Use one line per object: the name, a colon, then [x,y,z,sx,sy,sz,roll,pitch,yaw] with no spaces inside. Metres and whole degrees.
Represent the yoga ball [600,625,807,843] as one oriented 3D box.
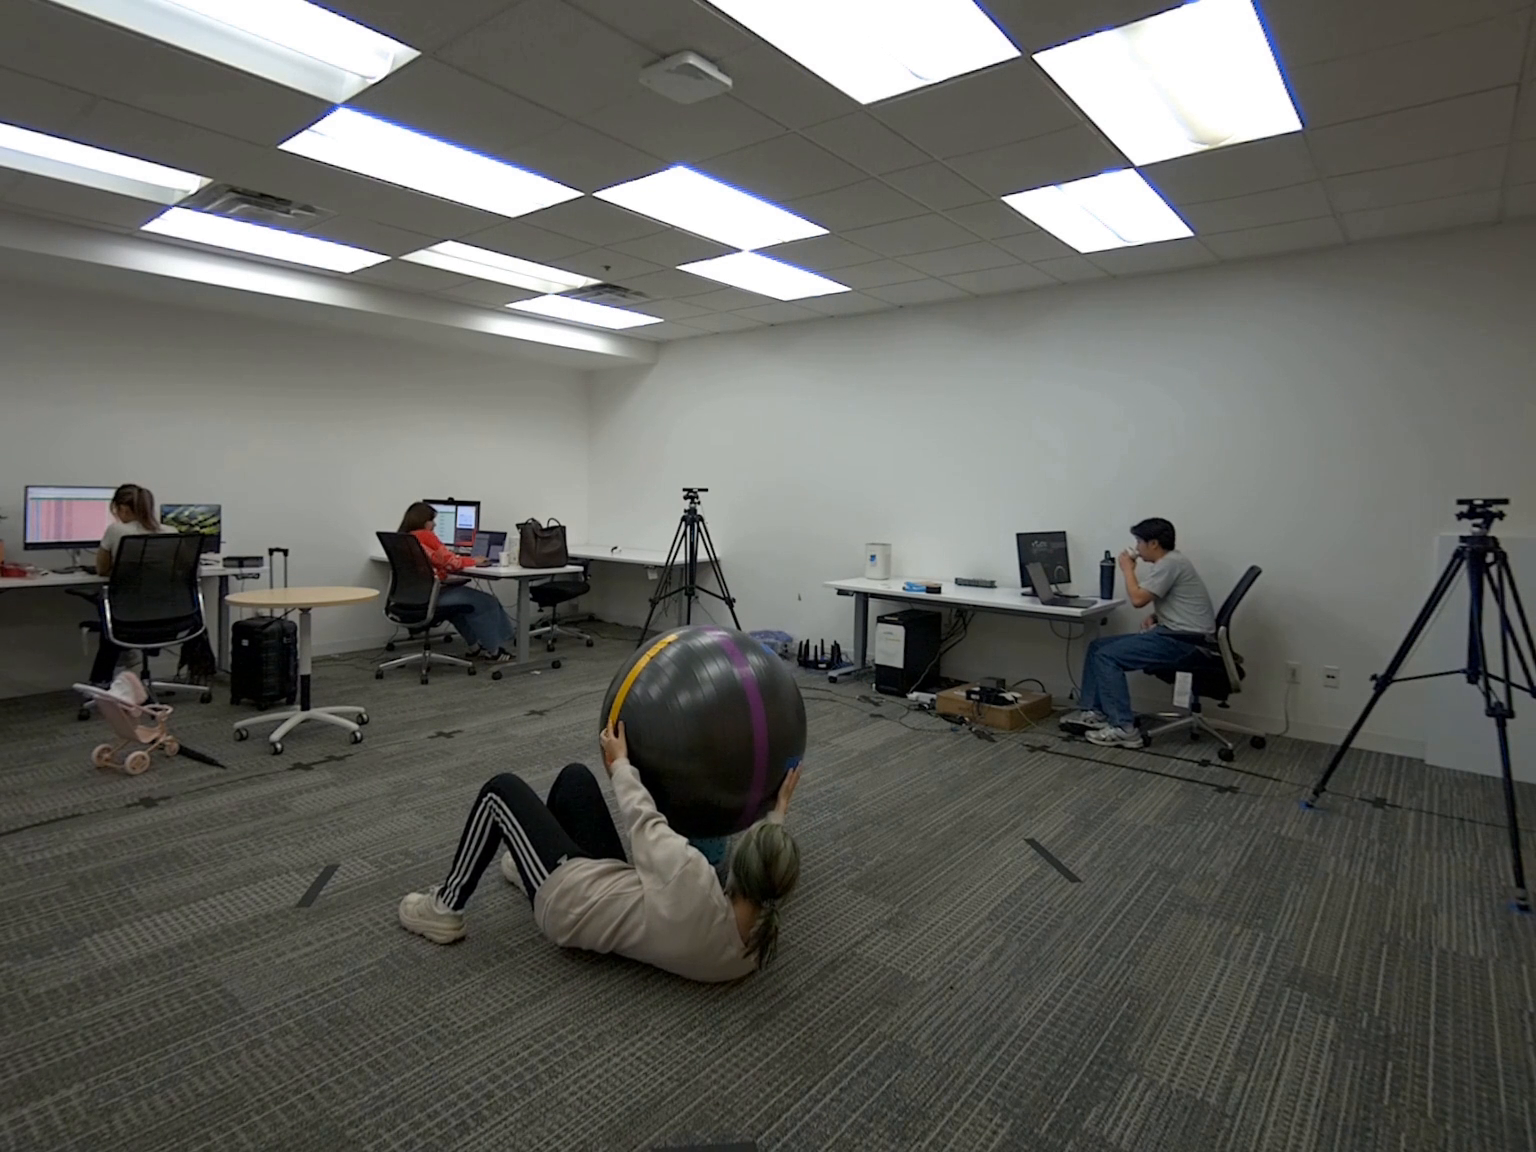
yoga ball: [-0.246,0.553,3.102,0.757,0.755,0.762,1,4,-2]
